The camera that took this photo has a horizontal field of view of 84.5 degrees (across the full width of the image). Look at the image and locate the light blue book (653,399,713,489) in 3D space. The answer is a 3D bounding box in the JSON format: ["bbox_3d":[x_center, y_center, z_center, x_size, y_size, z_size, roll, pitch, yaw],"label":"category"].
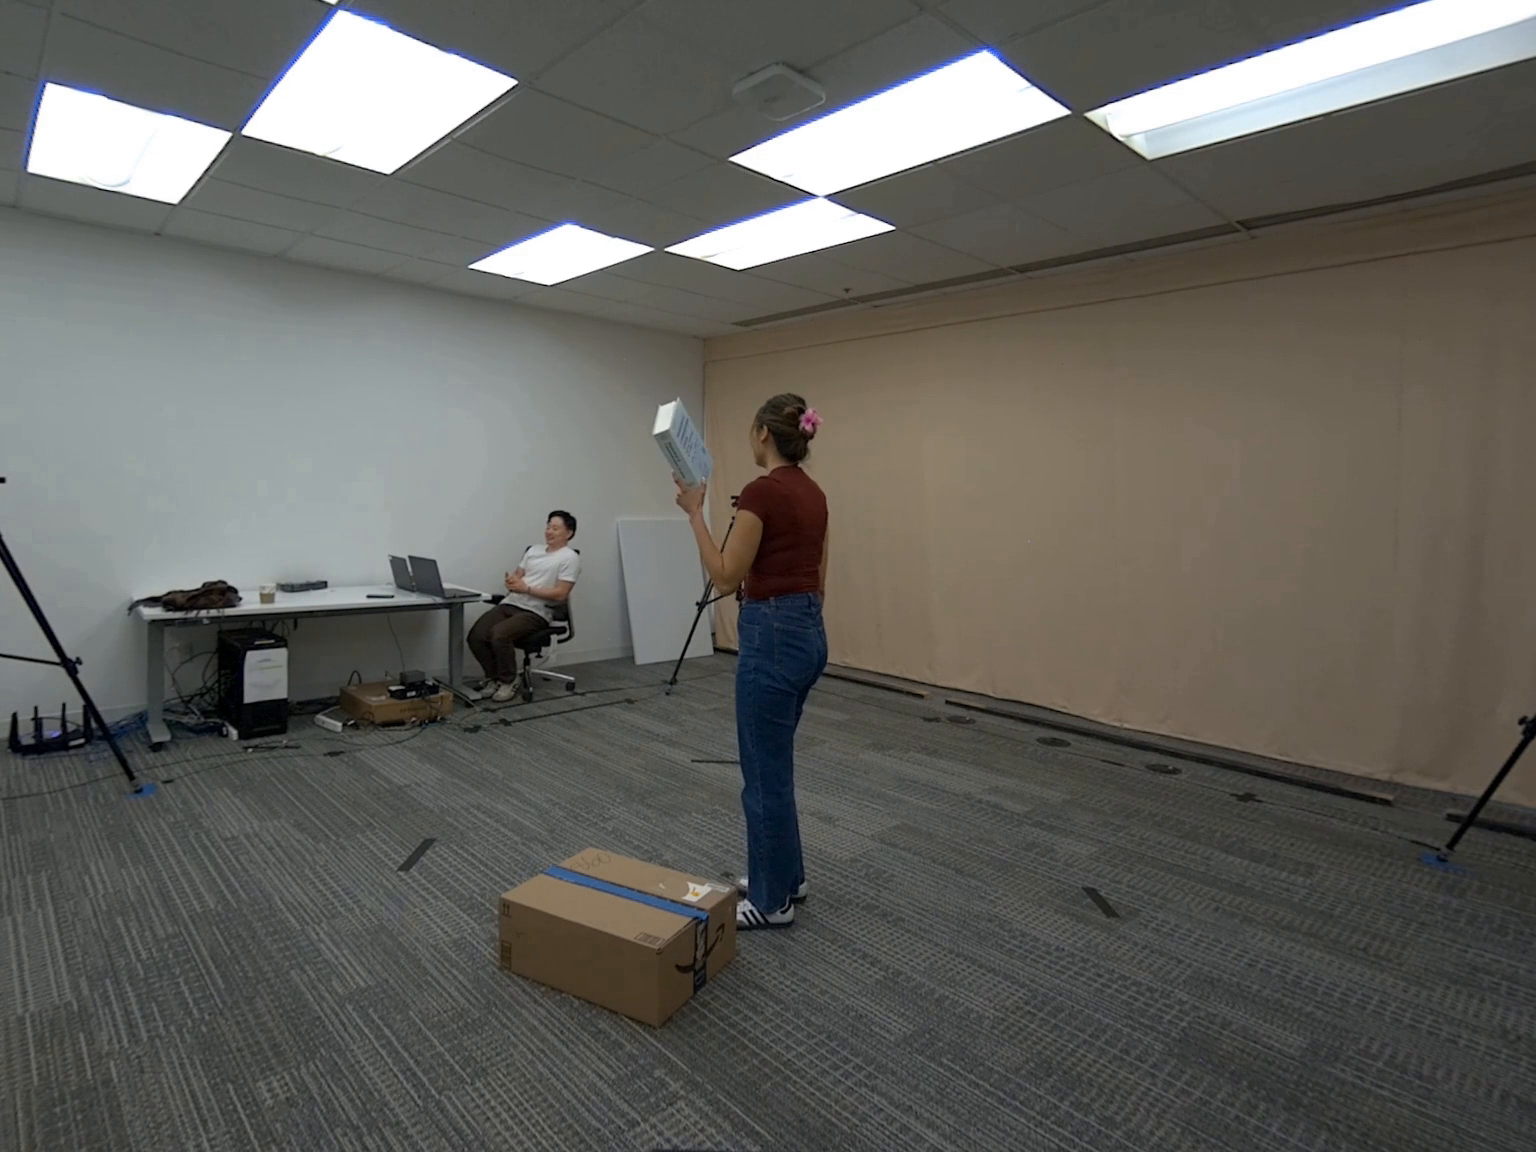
[{"bbox_3d":[-0.265,-0.399,2.662,0.059,0.254,0.195,-17,35,17],"label":"light blue book"}]
